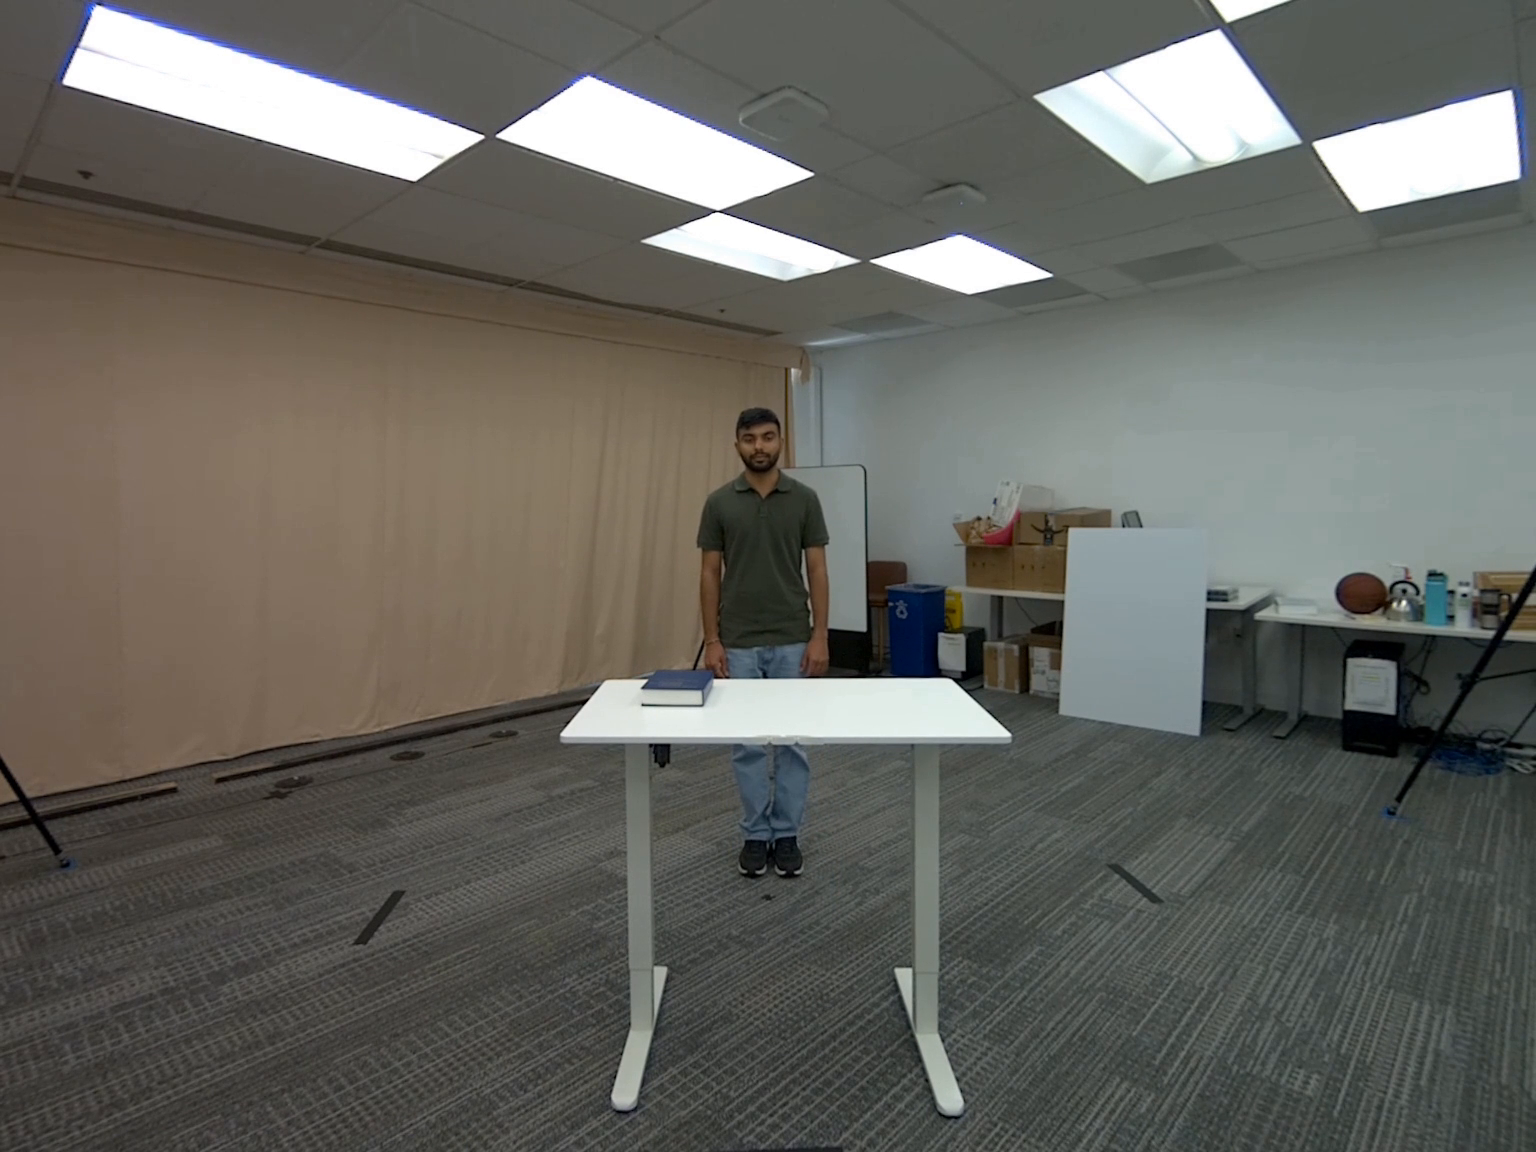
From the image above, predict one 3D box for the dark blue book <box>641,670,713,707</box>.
[{"bbox_3d":[-0.229,0.300,2.264,0.164,0.045,0.244,-1,5,4],"label":"dark blue book"}]
